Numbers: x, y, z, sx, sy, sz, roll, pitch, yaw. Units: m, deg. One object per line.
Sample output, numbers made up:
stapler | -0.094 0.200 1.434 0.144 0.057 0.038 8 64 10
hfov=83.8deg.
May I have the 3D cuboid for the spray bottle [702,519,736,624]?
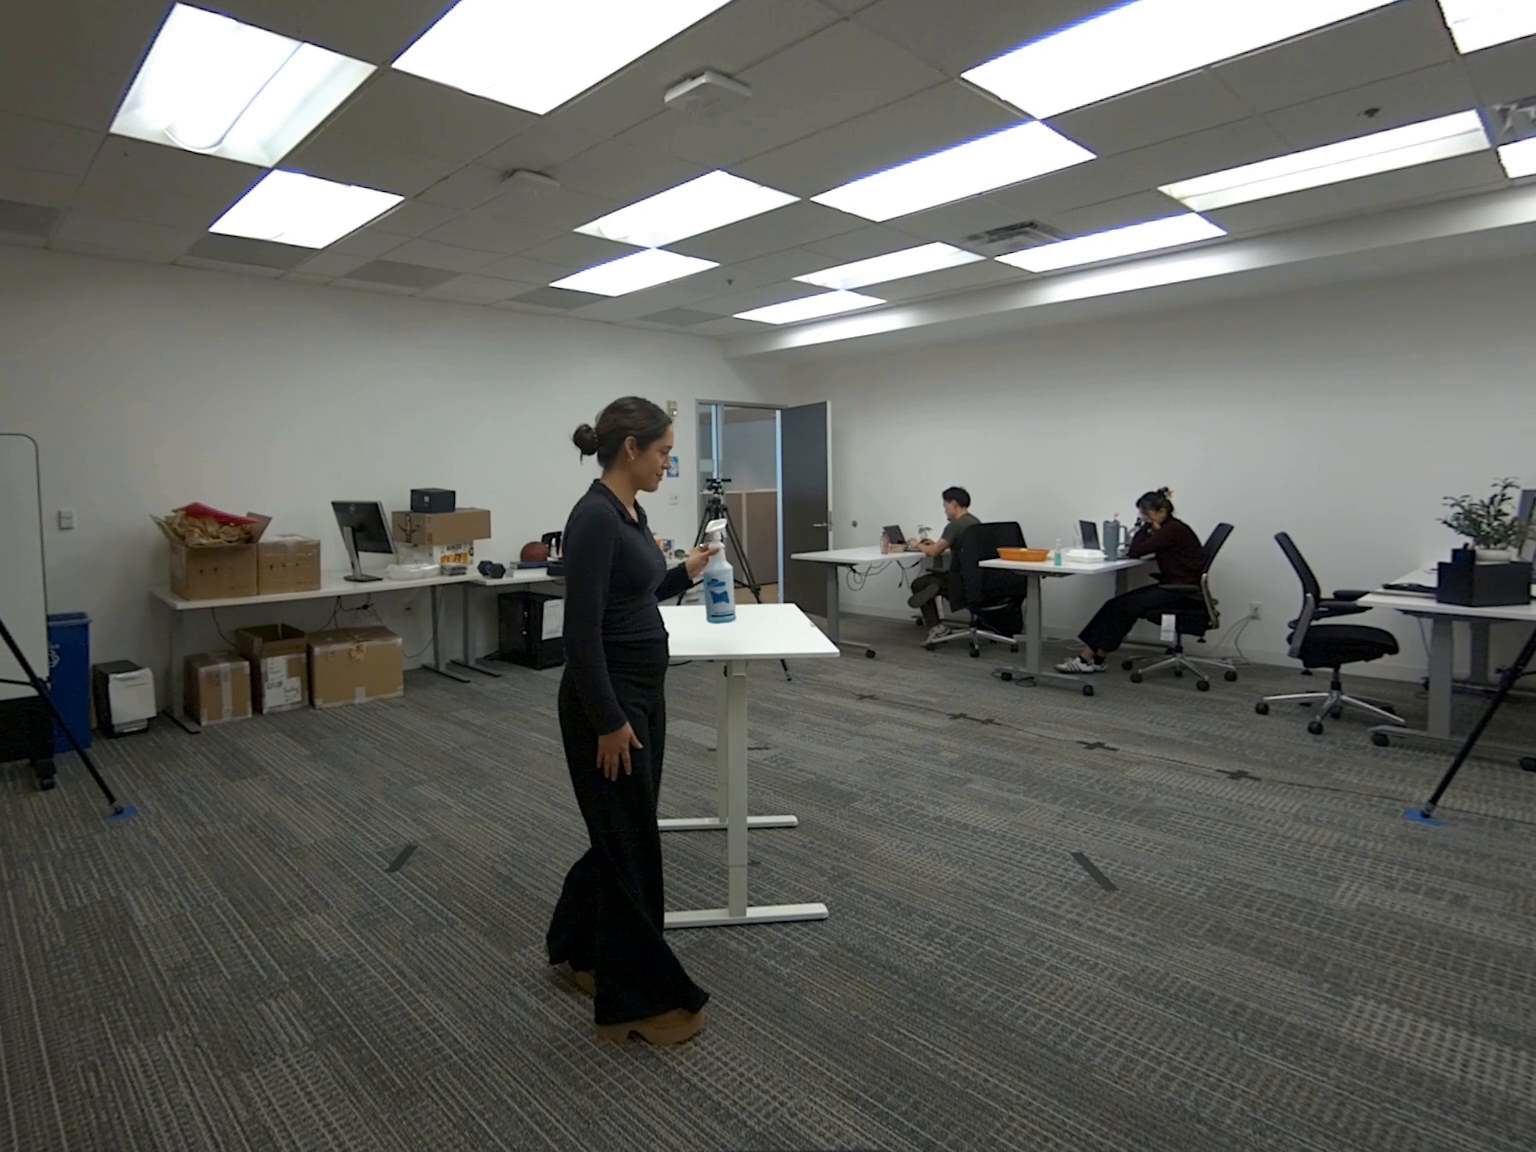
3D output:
spray bottle | -0.141 -0.015 2.478 0.088 0.296 0.089 -3 6 -31
